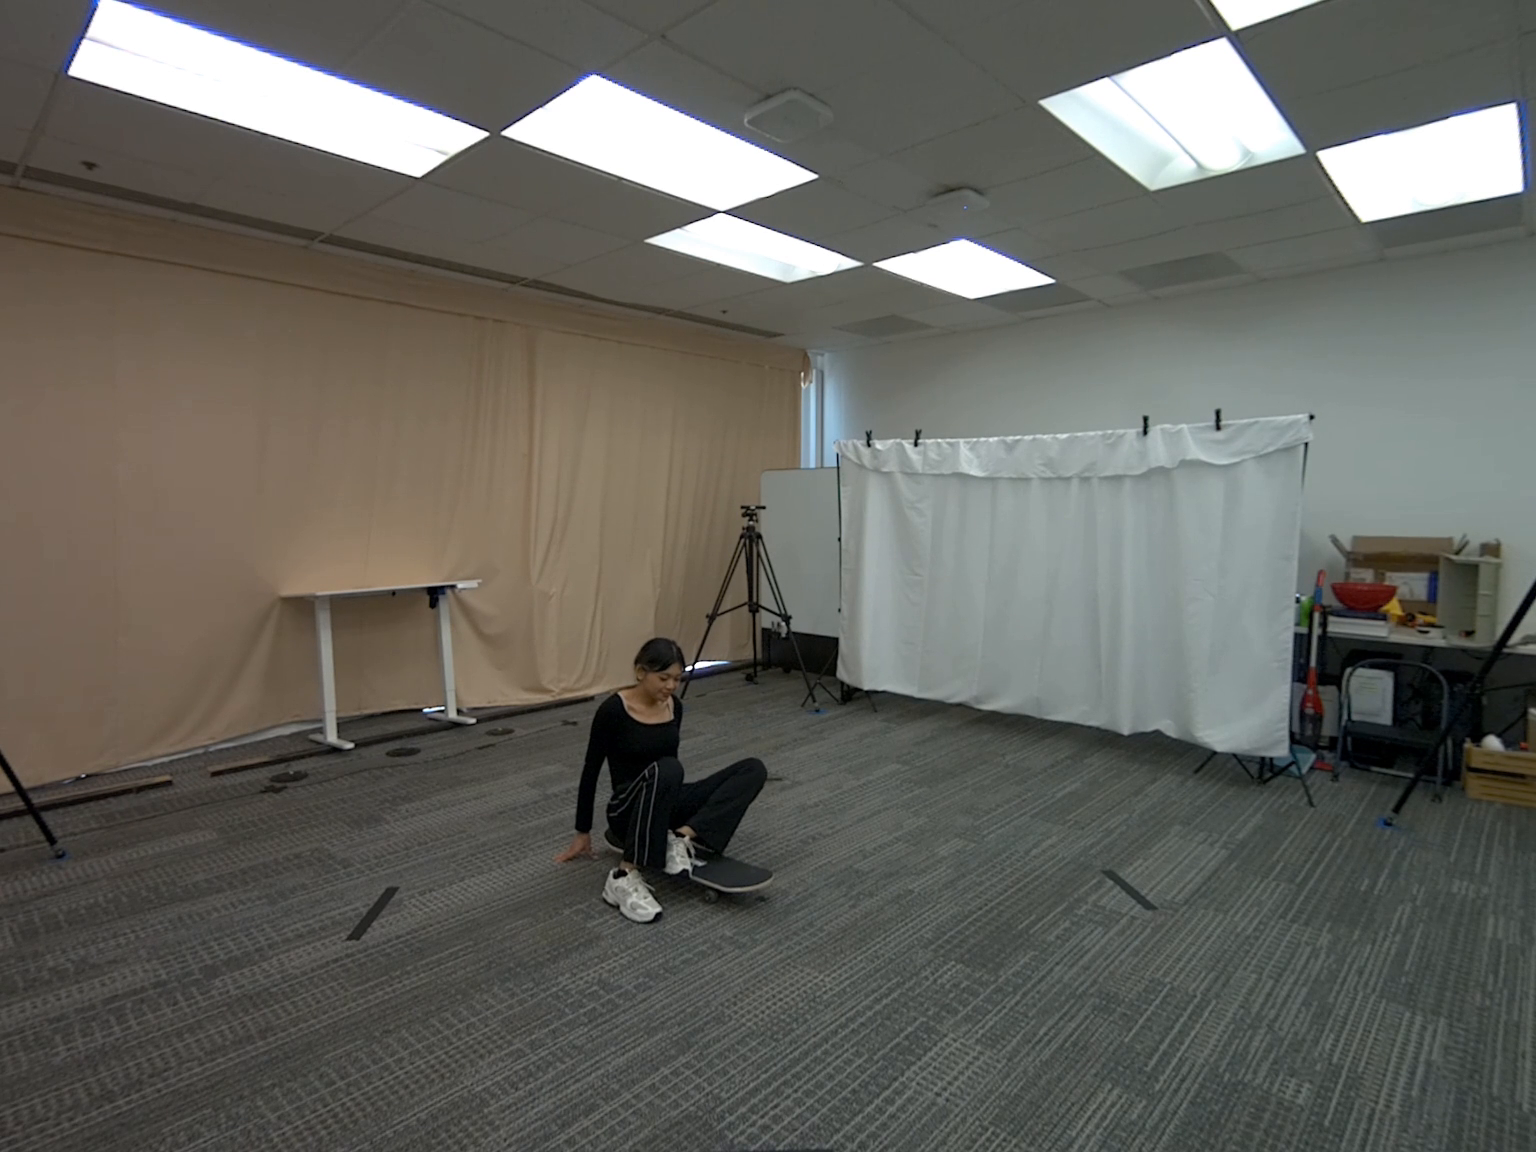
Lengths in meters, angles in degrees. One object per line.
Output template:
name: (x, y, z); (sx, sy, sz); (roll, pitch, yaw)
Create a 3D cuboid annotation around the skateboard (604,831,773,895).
skateboard: (-0.305, 1.072, 3.126); (0.811, 0.110, 0.188); (3, 6, 38)
